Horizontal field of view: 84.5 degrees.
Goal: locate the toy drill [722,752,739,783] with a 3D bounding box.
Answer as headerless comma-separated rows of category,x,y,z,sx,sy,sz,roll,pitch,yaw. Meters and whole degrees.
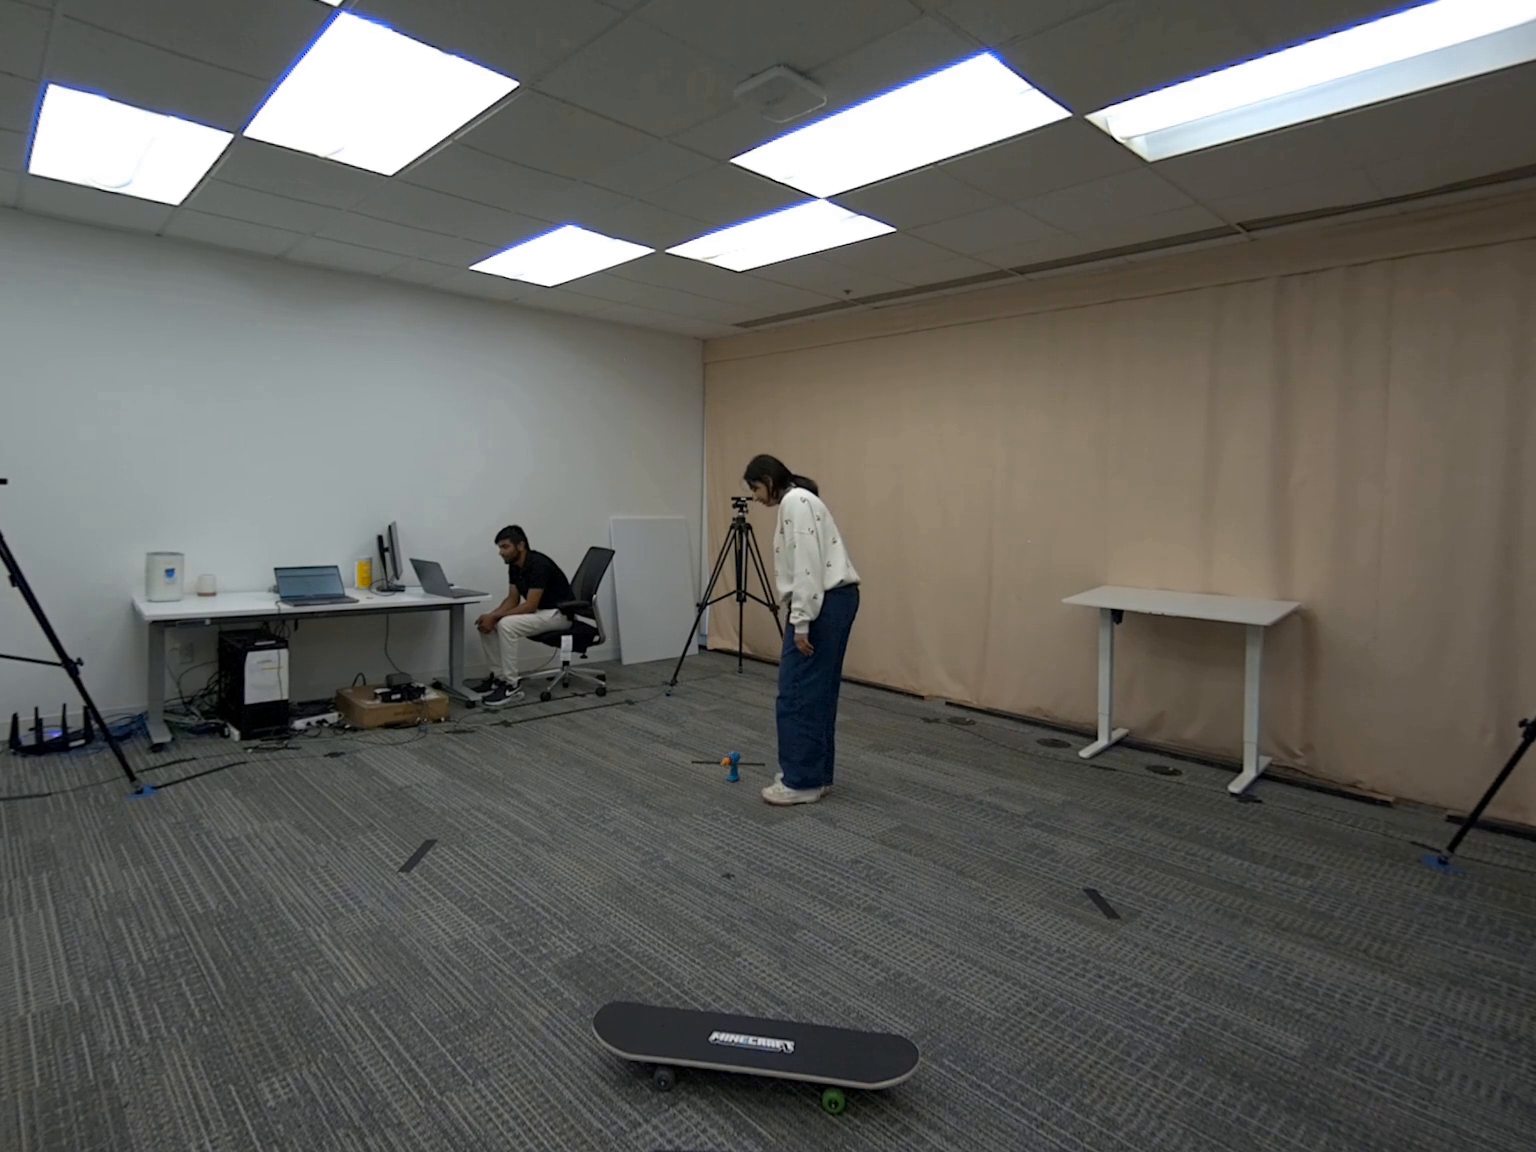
toy drill,-0.192,0.937,4.145,0.062,0.145,0.167,4,6,27
